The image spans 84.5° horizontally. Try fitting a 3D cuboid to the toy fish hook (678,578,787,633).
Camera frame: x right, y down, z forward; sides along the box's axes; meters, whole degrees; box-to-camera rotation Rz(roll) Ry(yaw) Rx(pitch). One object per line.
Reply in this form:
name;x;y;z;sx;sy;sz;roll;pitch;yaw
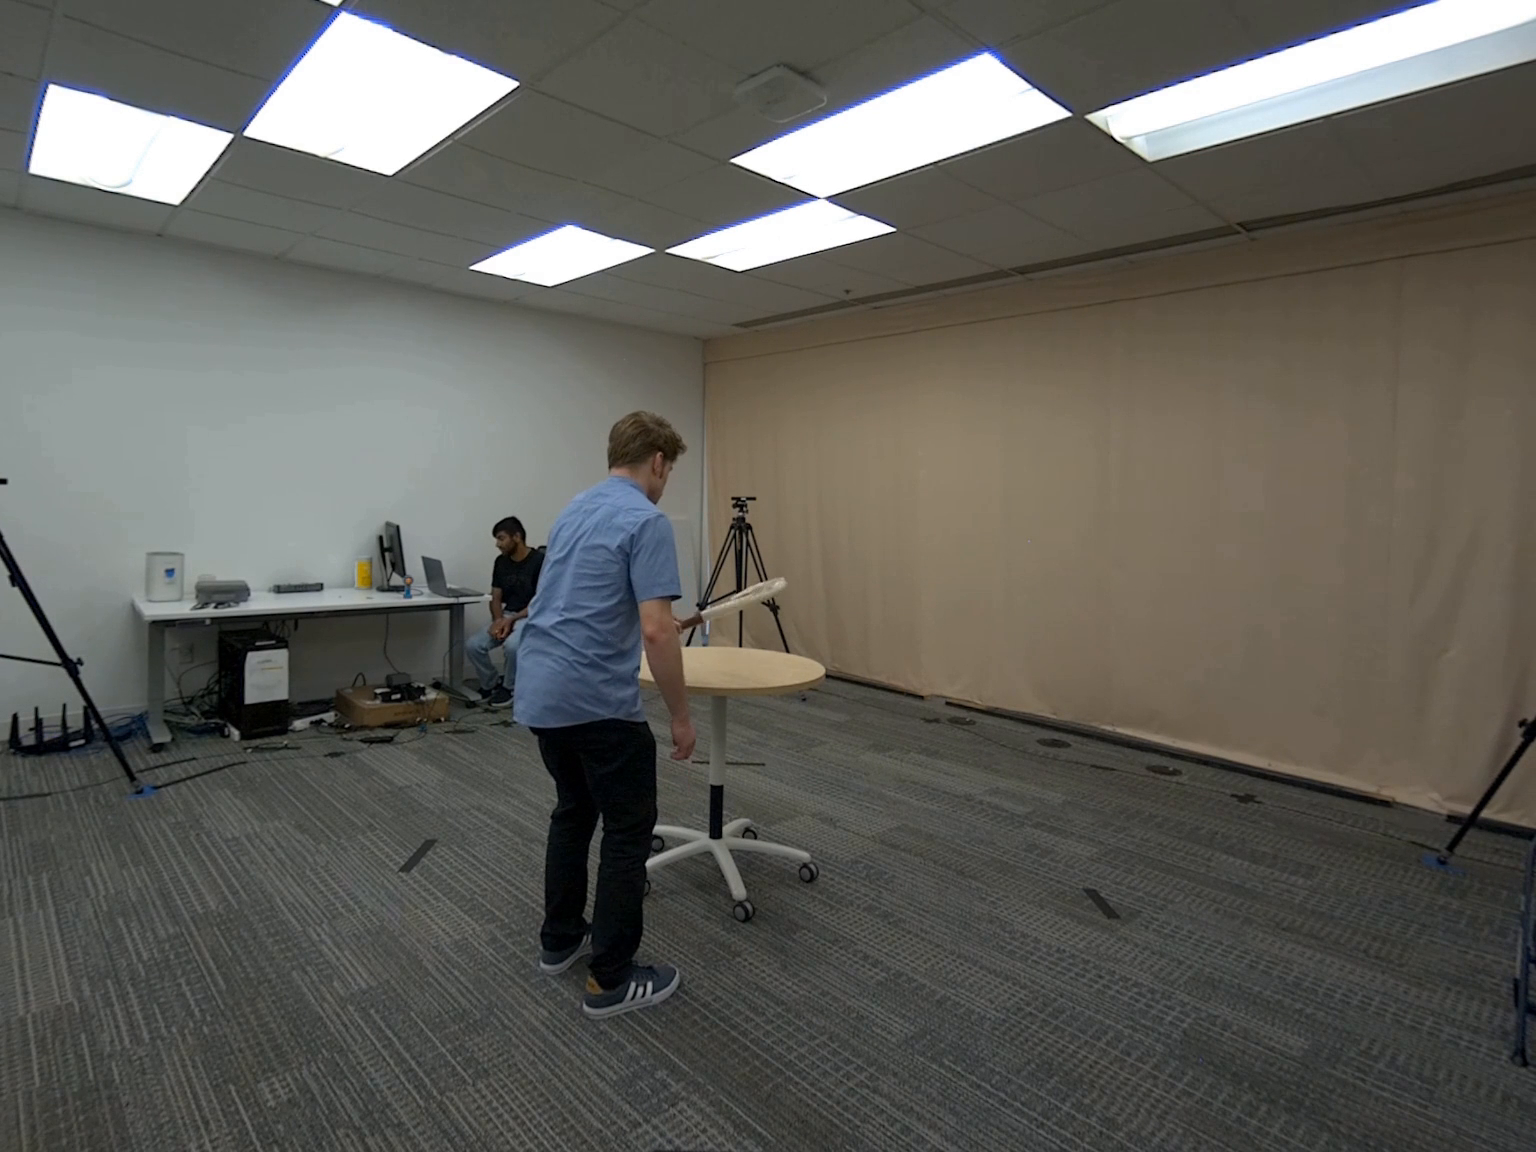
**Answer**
toy fish hook;-0.188;0.131;2.842;0.506;0.048;0.225;-22;3;-2
